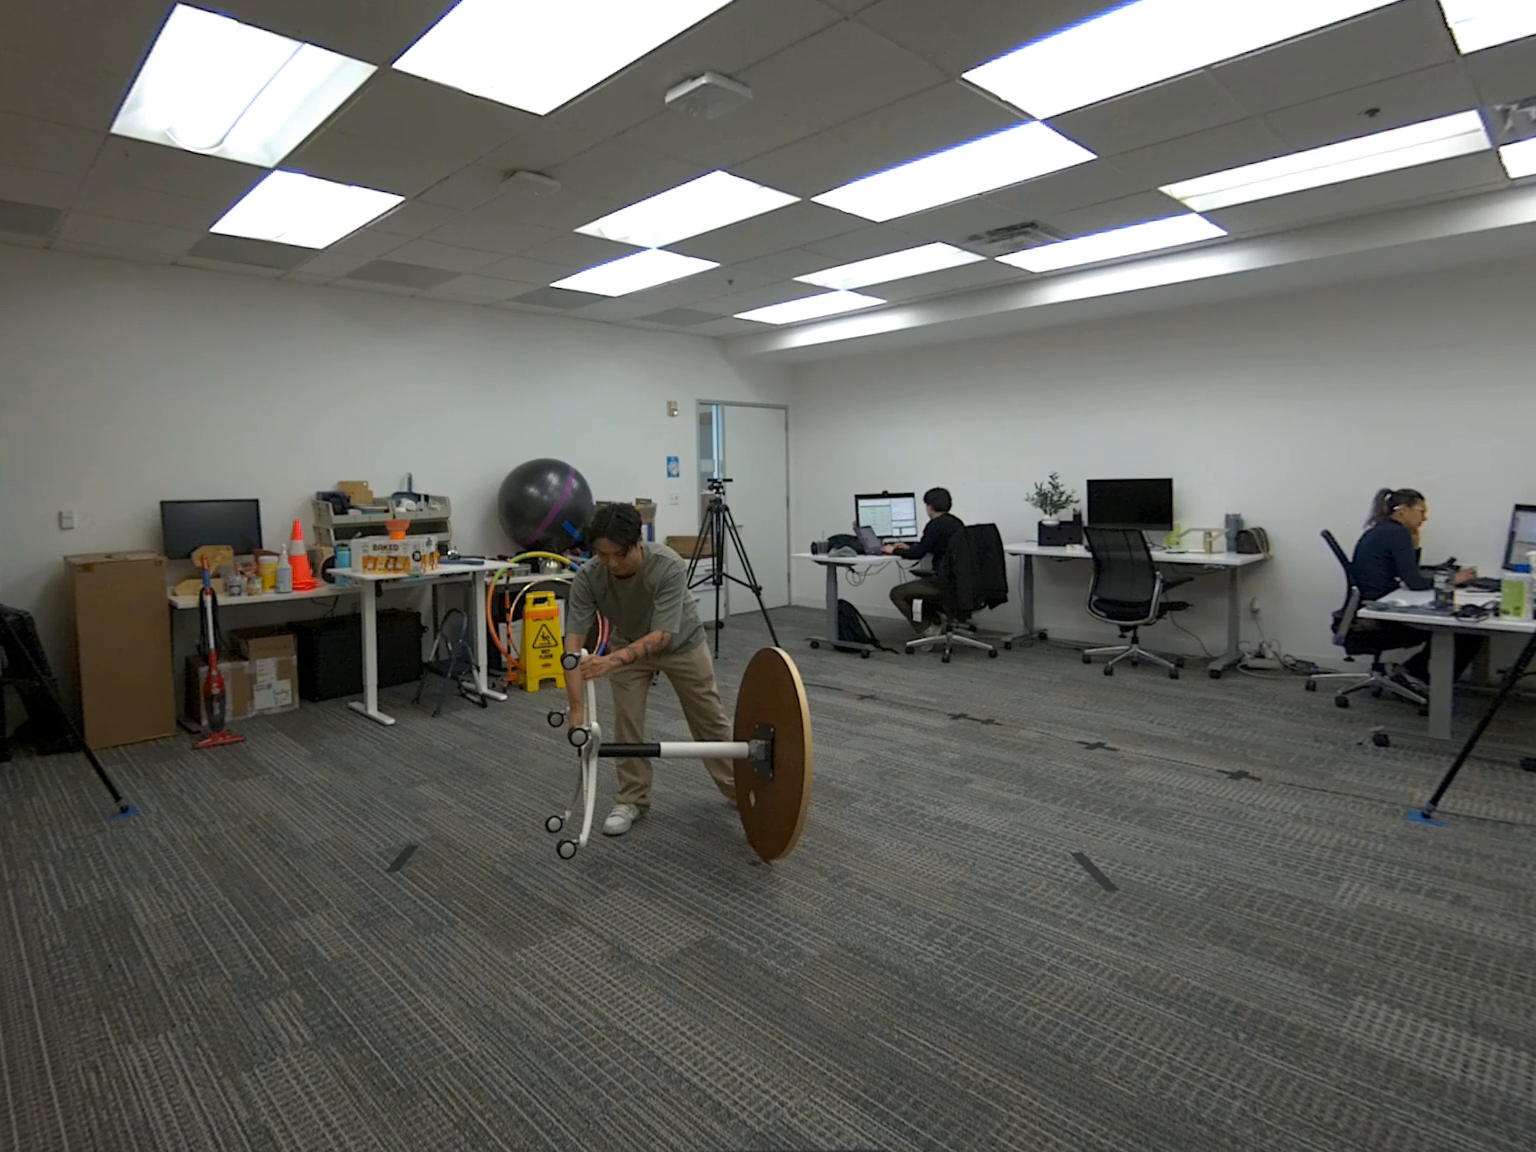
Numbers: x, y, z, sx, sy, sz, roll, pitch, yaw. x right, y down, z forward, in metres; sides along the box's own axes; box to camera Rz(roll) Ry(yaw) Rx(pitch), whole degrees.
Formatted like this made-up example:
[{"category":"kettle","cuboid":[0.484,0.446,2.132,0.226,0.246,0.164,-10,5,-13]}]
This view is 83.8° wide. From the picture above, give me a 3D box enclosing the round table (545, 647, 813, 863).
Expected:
[{"category":"round table","cuboid":[-0.361,0.637,3.081,0.773,0.783,0.801,3,3,-18]}]
